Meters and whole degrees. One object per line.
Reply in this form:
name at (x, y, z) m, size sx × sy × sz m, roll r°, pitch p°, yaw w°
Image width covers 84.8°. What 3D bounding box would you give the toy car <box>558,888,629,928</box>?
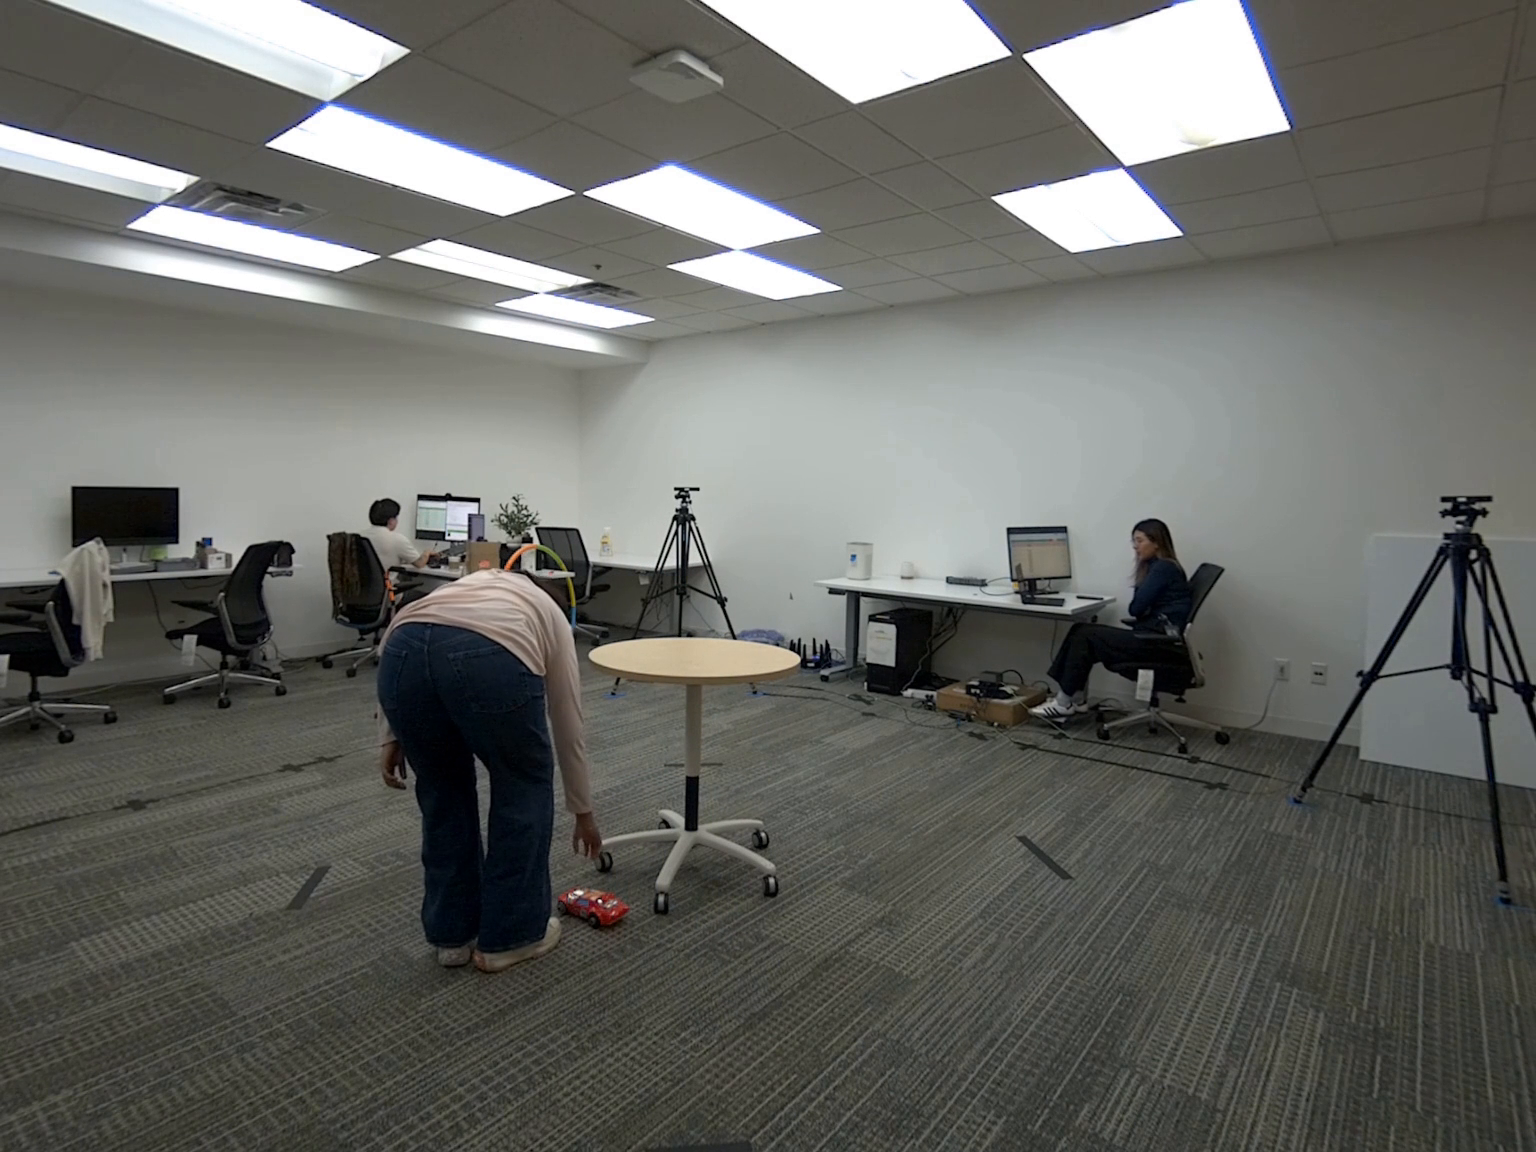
toy car at (-0.570, 1.064, 2.736) m, size 0.261 × 0.083 × 0.126 m, roll -8°, pitch -1°, yaw 36°
